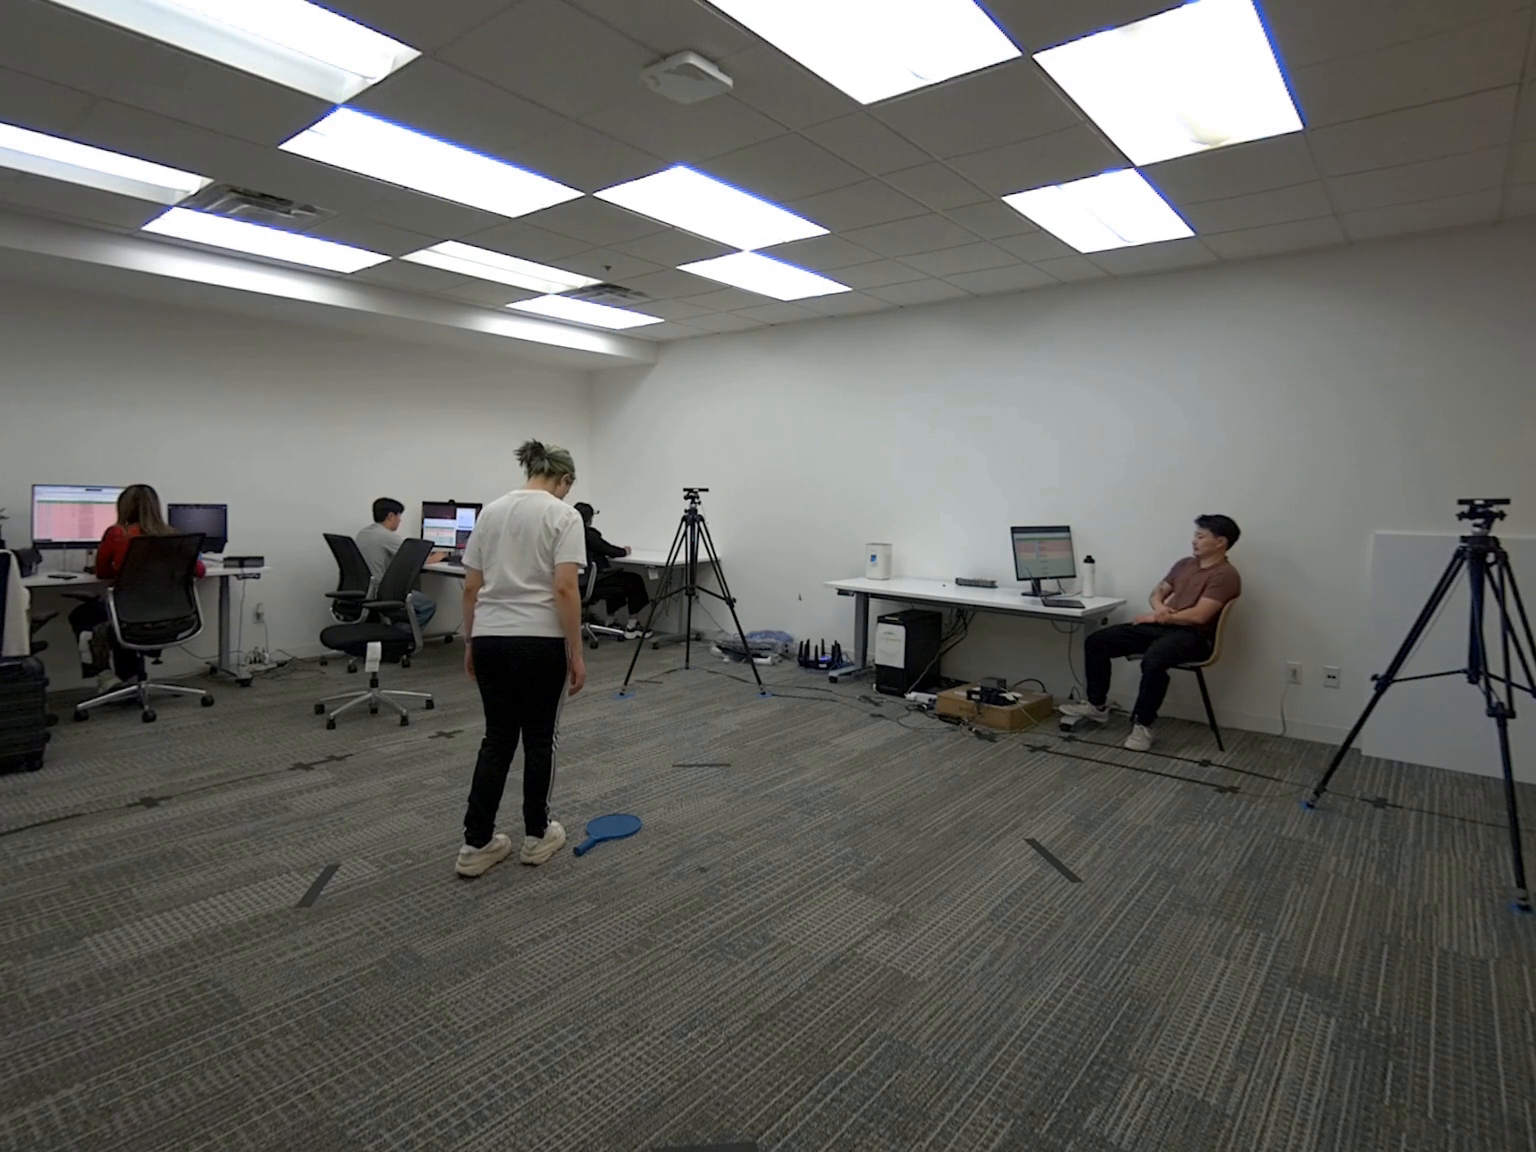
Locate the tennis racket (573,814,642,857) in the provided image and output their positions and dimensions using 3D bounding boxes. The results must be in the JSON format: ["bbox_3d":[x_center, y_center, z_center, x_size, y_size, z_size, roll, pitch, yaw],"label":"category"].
[{"bbox_3d":[-0.665,1.021,3.398,0.218,0.032,0.424,2,4,19],"label":"tennis racket"}]
